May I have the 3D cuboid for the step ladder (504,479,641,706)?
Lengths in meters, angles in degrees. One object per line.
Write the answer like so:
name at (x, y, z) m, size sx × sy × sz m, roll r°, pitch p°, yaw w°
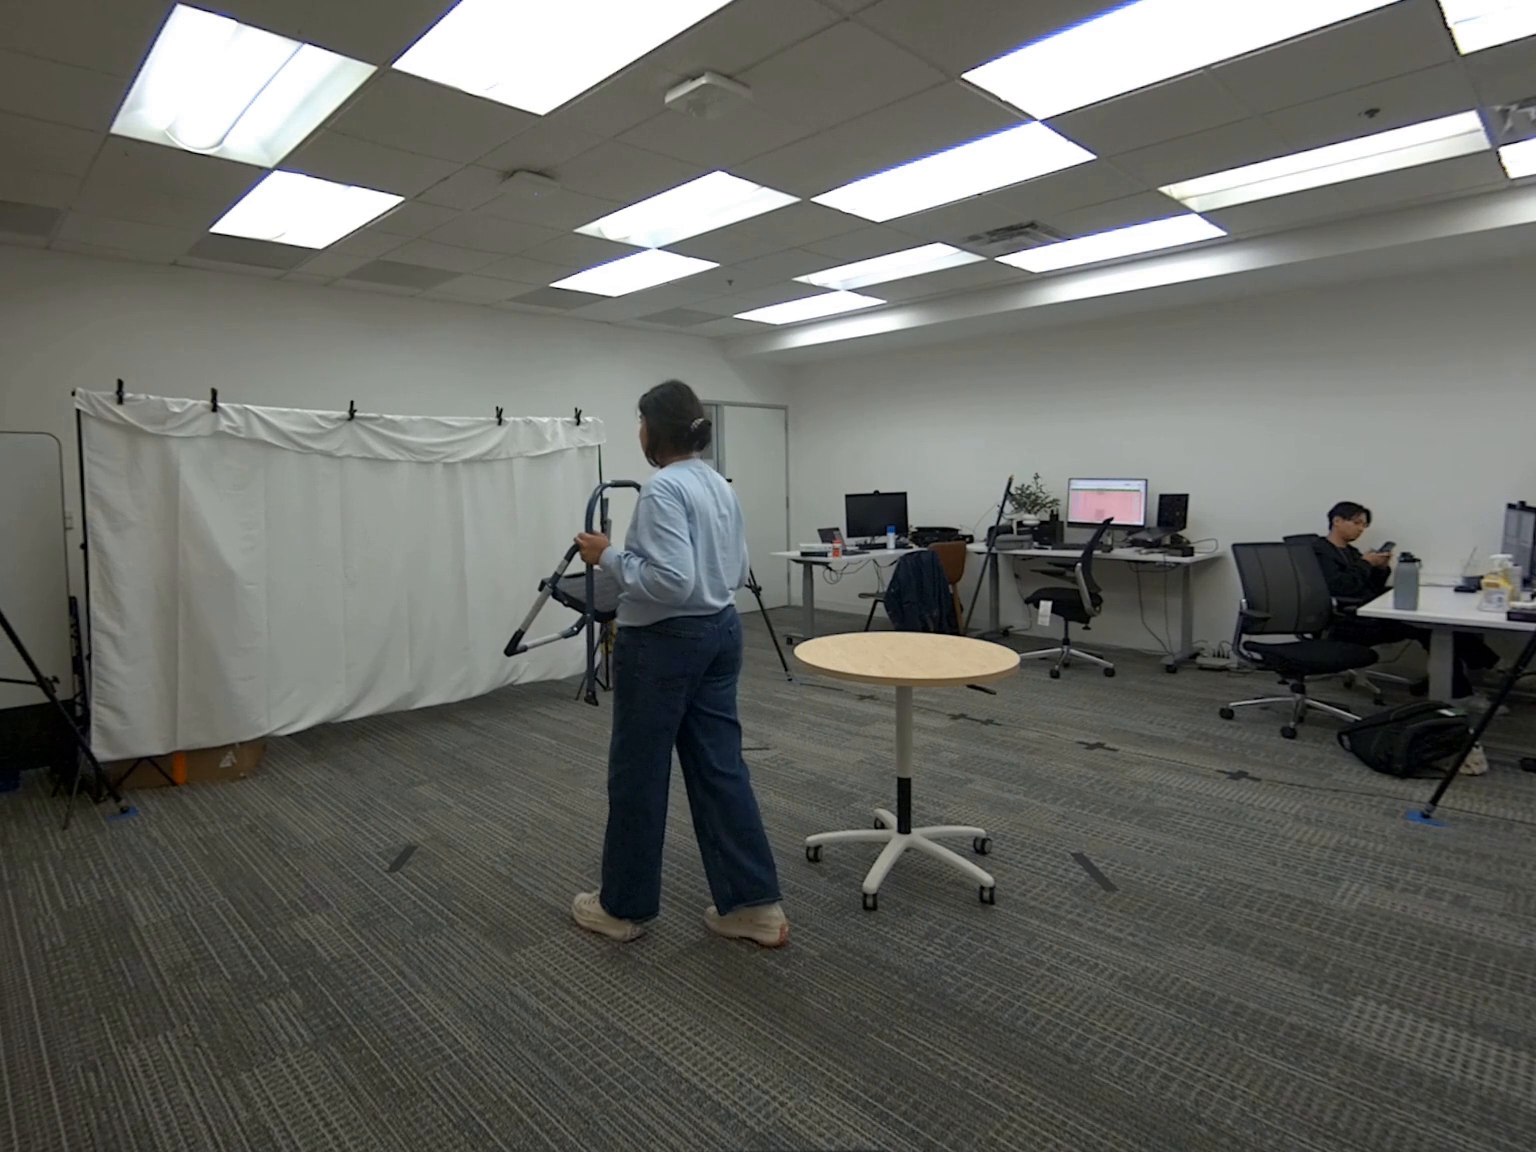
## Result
step ladder at (-0.490, 0.011, 2.684) m, size 0.356 × 0.603 × 0.424 m, roll 23°, pitch 11°, yaw 15°
